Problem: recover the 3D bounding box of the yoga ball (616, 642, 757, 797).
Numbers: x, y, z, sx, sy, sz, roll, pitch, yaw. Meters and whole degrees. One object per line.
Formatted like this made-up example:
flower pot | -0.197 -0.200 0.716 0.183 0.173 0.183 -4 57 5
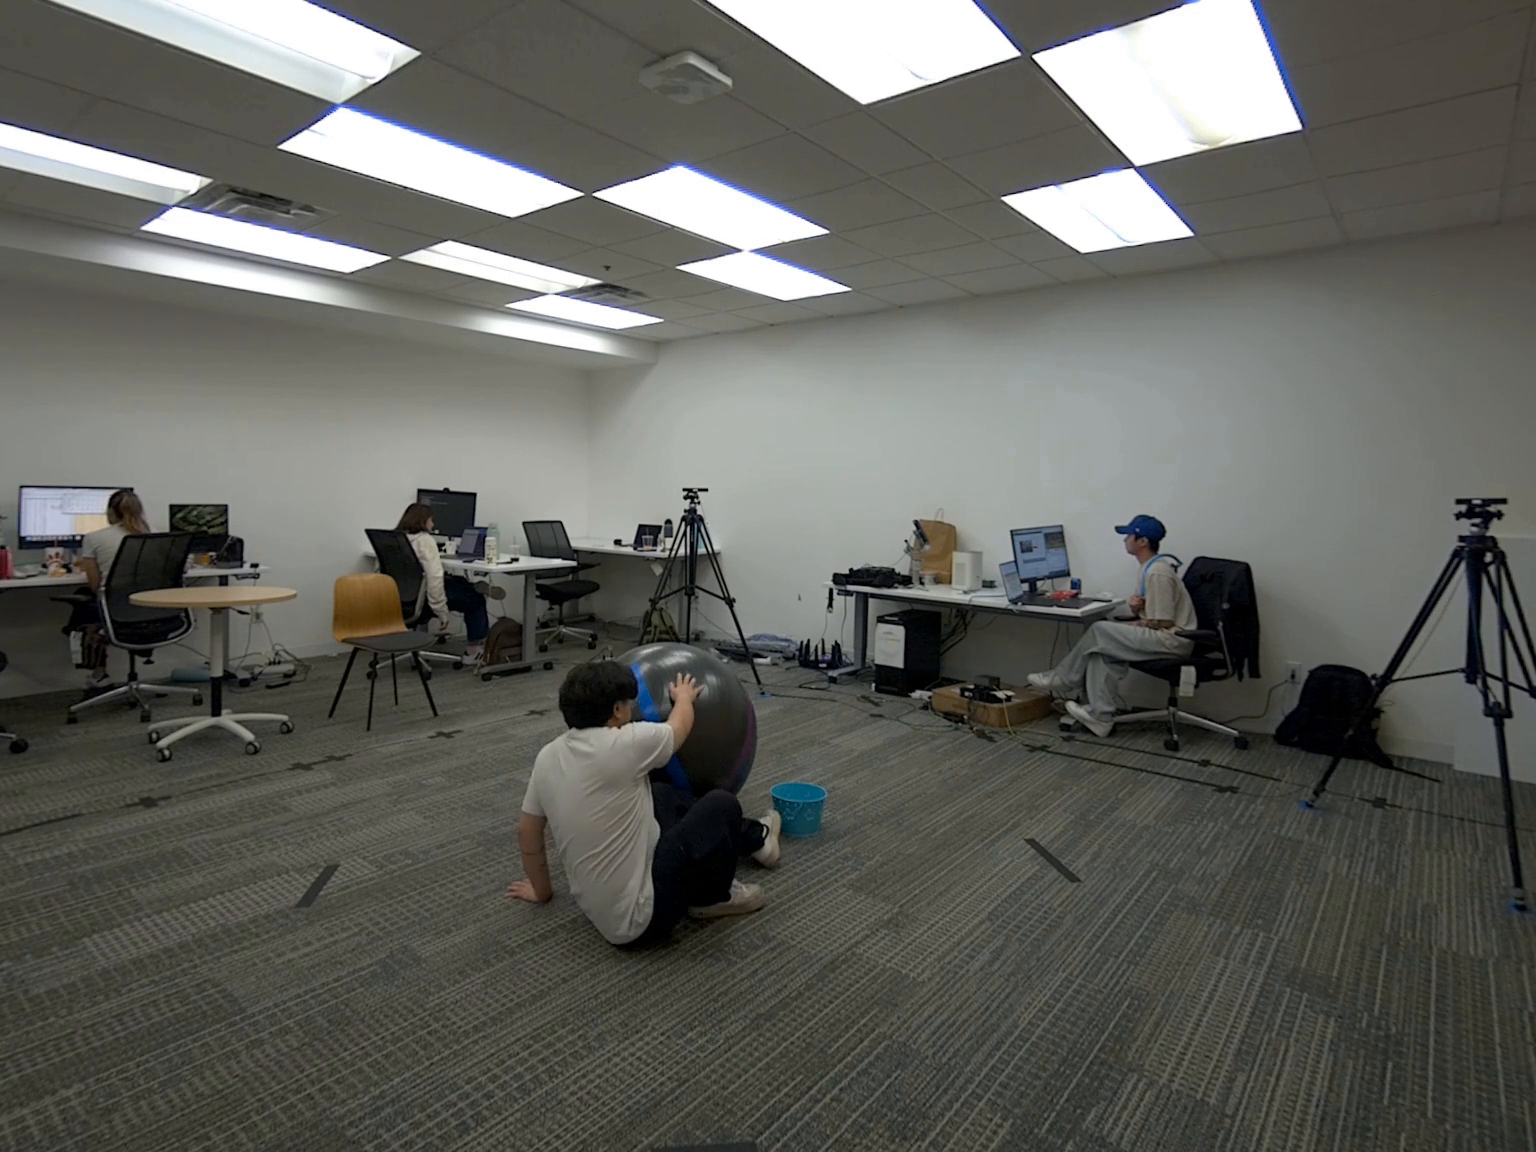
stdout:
yoga ball | -0.436 0.658 3.521 0.757 0.755 0.762 1 4 -2
